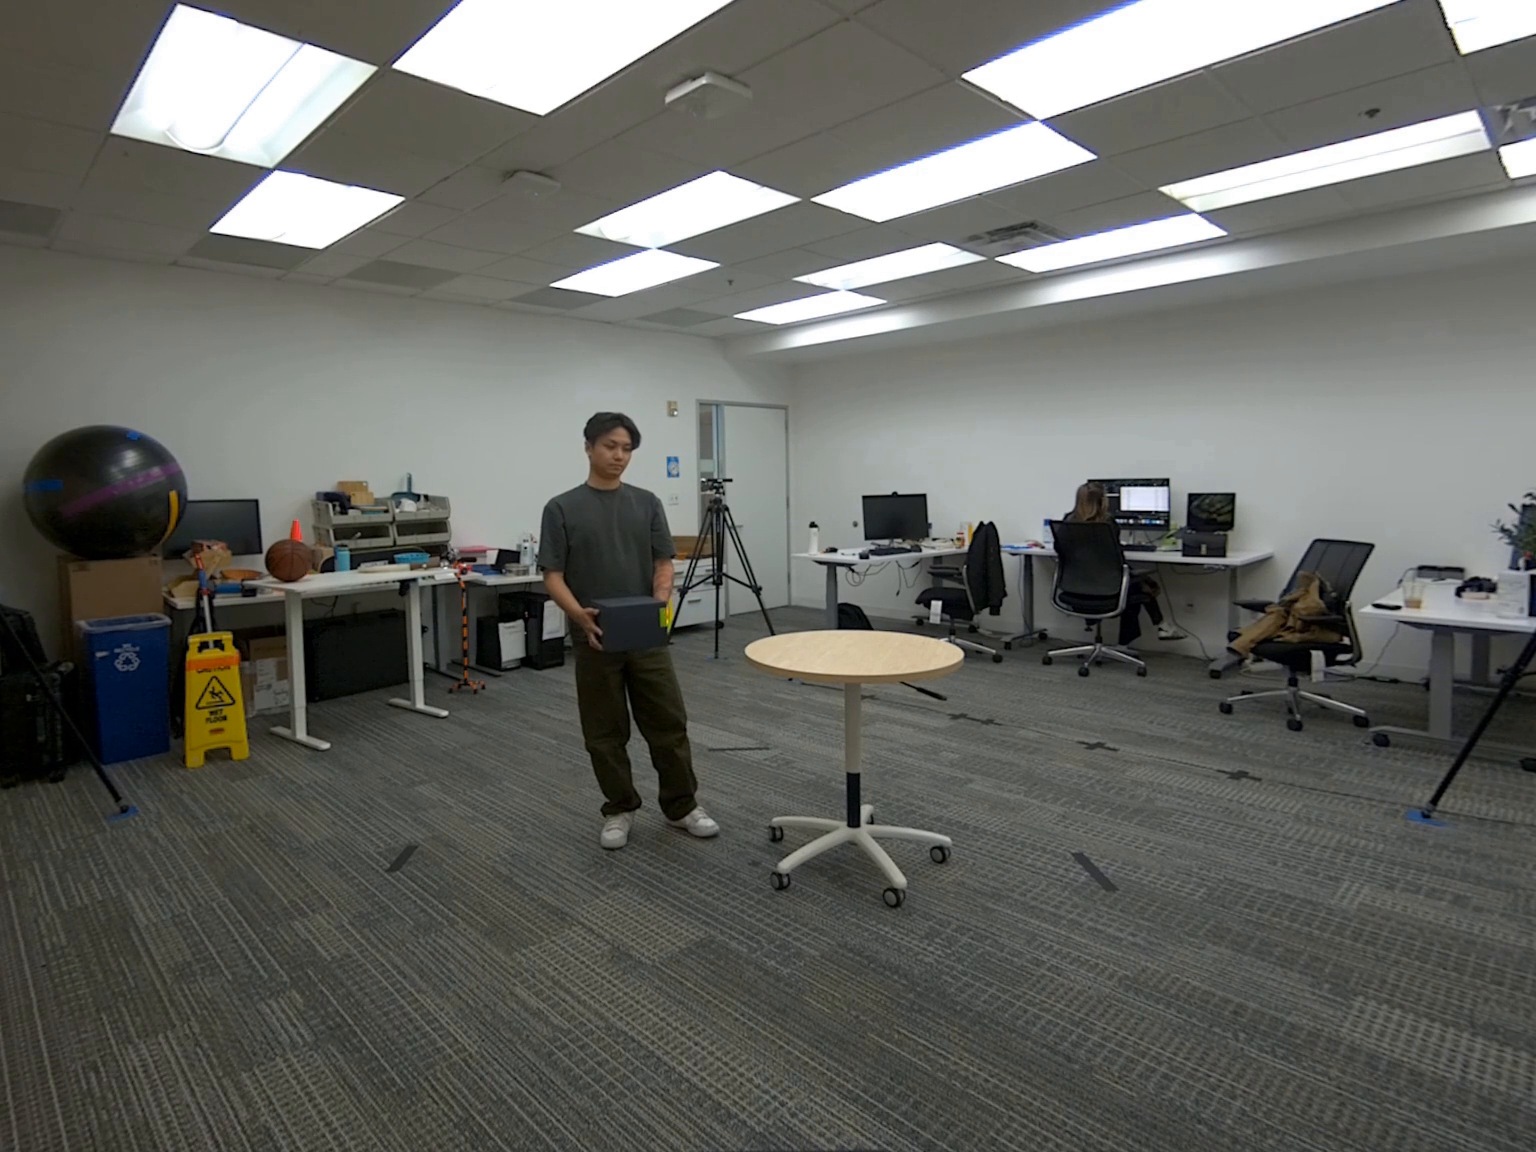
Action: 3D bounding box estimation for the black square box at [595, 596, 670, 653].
[{"bbox_3d":[-0.494,0.167,3.021,0.213,0.155,0.233,-4,4,-22],"label":"black square box"}]
